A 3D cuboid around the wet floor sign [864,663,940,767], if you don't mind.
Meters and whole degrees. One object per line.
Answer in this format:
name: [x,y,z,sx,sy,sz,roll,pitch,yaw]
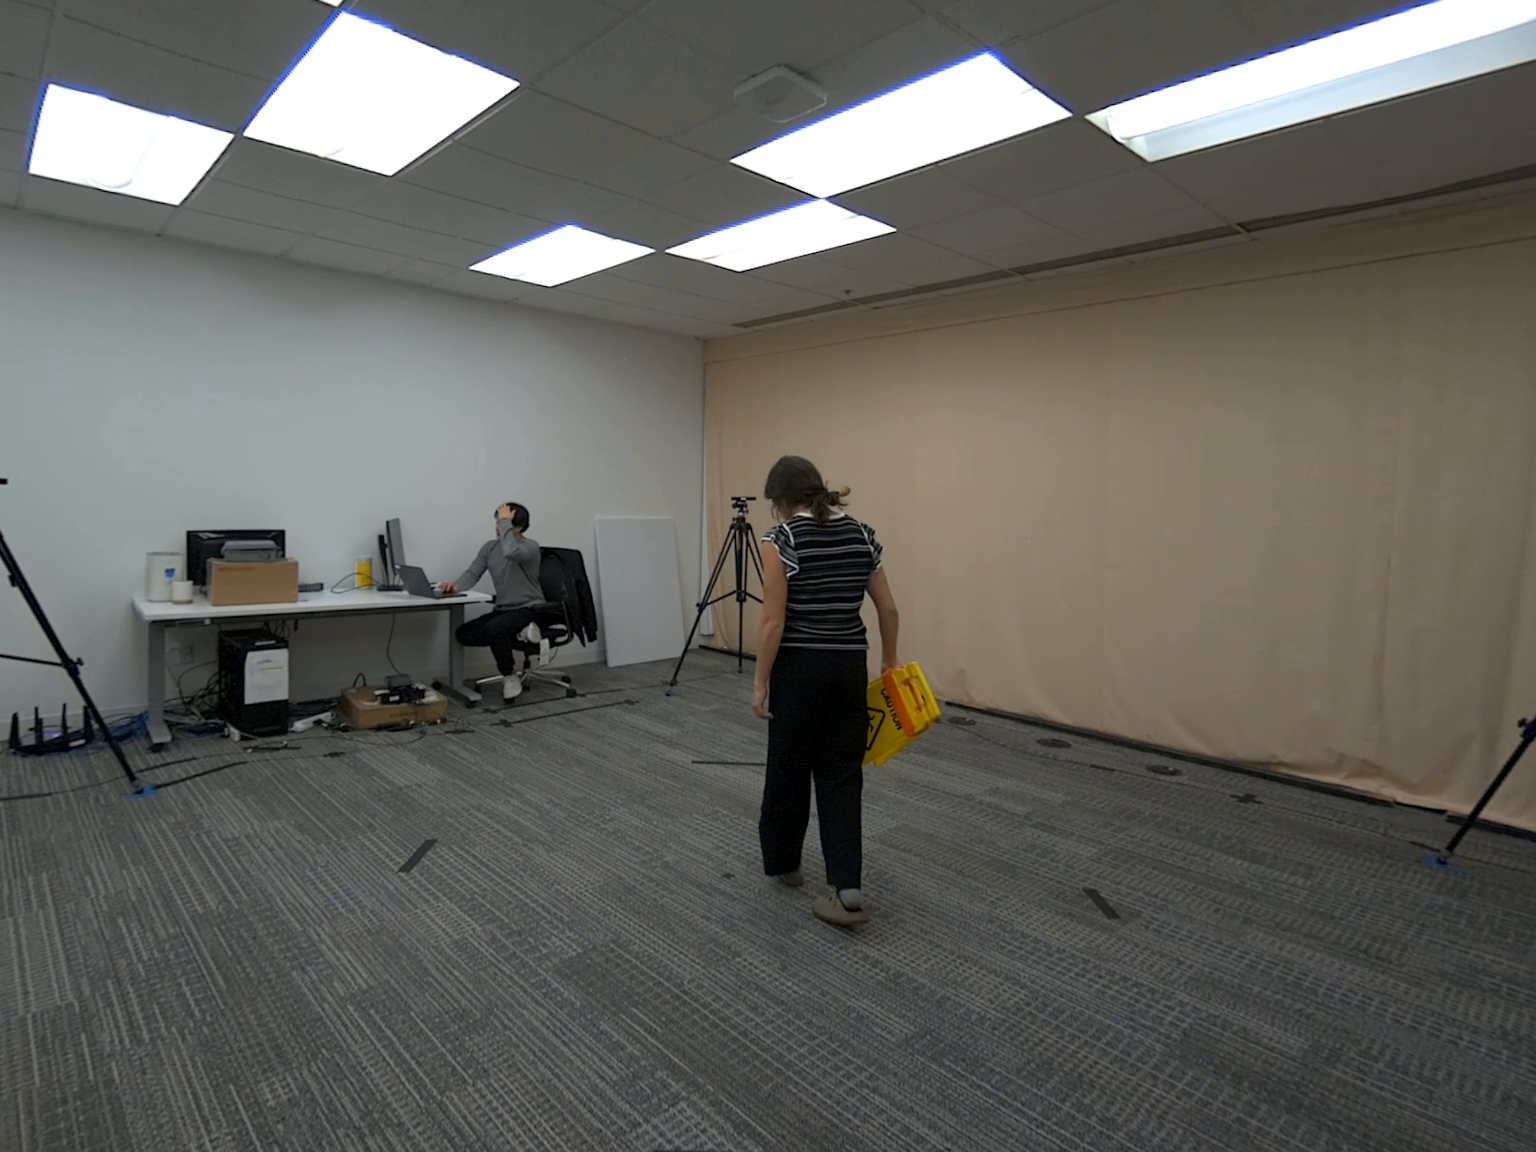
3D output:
wet floor sign: [0.403,0.516,3.068,0.285,0.288,0.644,-9,-24,-29]
